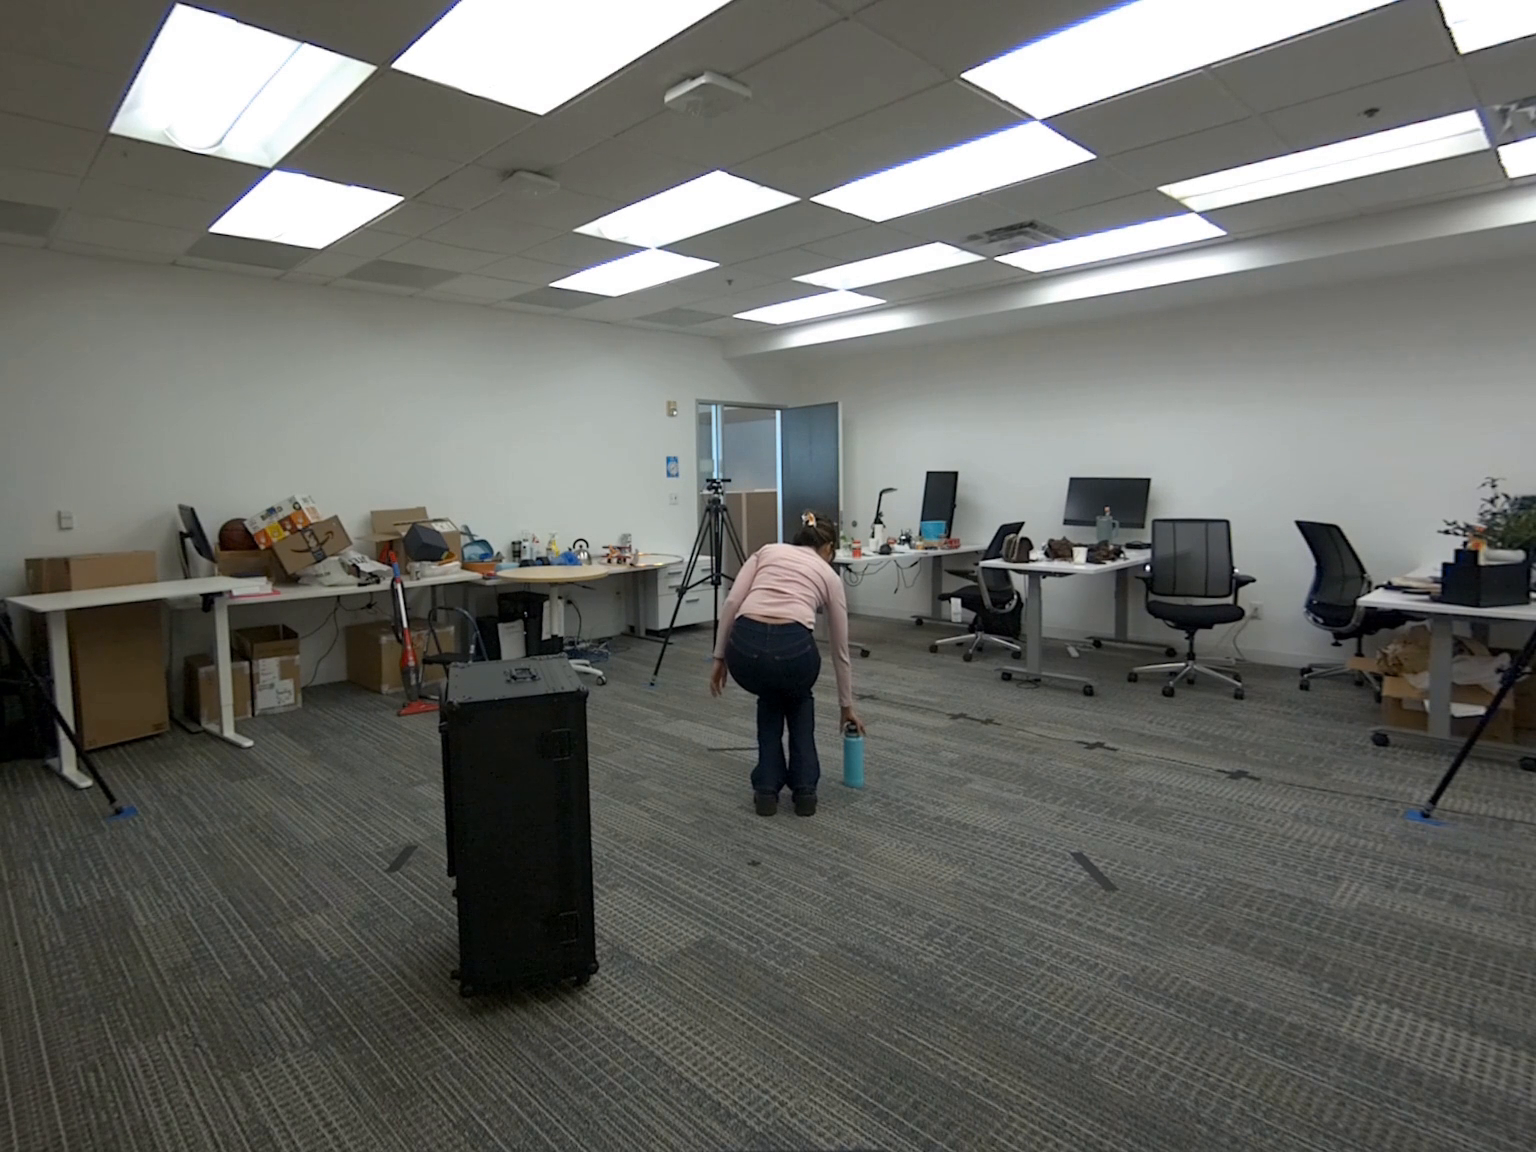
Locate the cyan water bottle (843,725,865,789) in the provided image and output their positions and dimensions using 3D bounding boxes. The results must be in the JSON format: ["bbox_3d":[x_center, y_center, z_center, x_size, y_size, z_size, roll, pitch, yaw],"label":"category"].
[{"bbox_3d":[0.385,0.810,3.887,0.092,0.283,0.092,-2,2,-2],"label":"cyan water bottle"}]
